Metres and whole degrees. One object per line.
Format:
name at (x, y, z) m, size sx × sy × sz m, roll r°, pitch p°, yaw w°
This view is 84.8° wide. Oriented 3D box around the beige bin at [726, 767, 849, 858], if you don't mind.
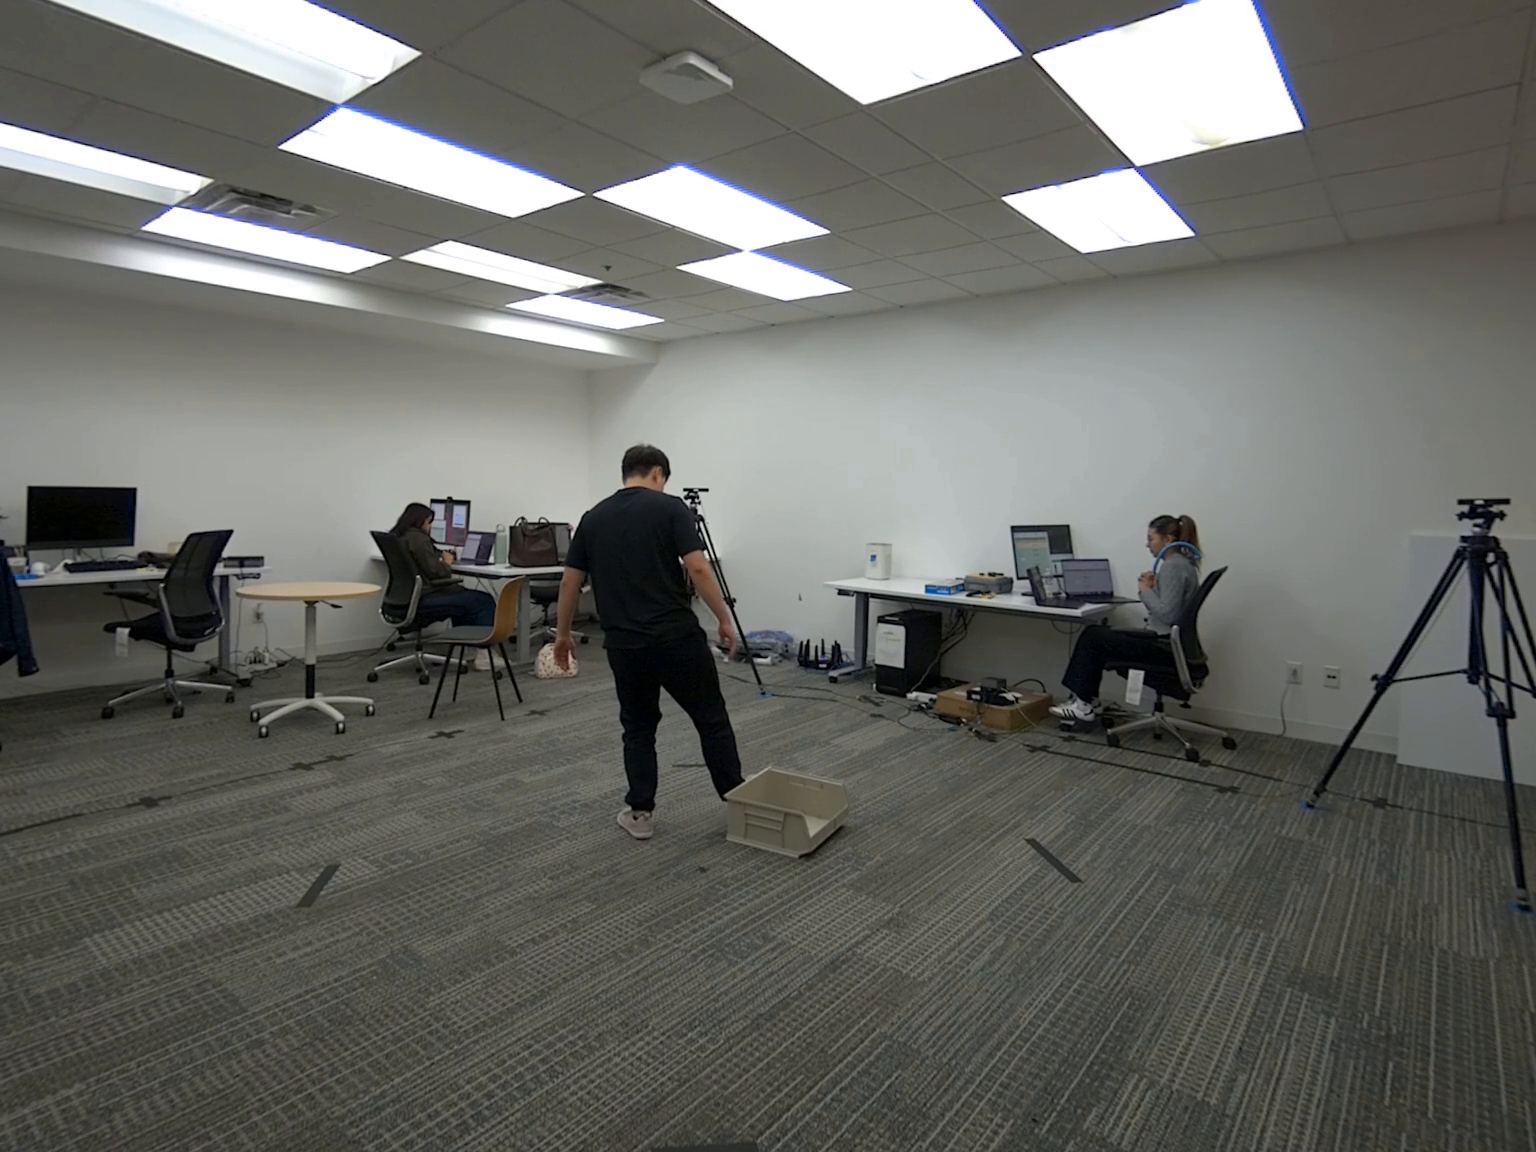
beige bin at (0.073, 0.952, 3.458) m, size 0.388 × 0.188 × 0.413 m, roll 4°, pitch 7°, yaw 26°
